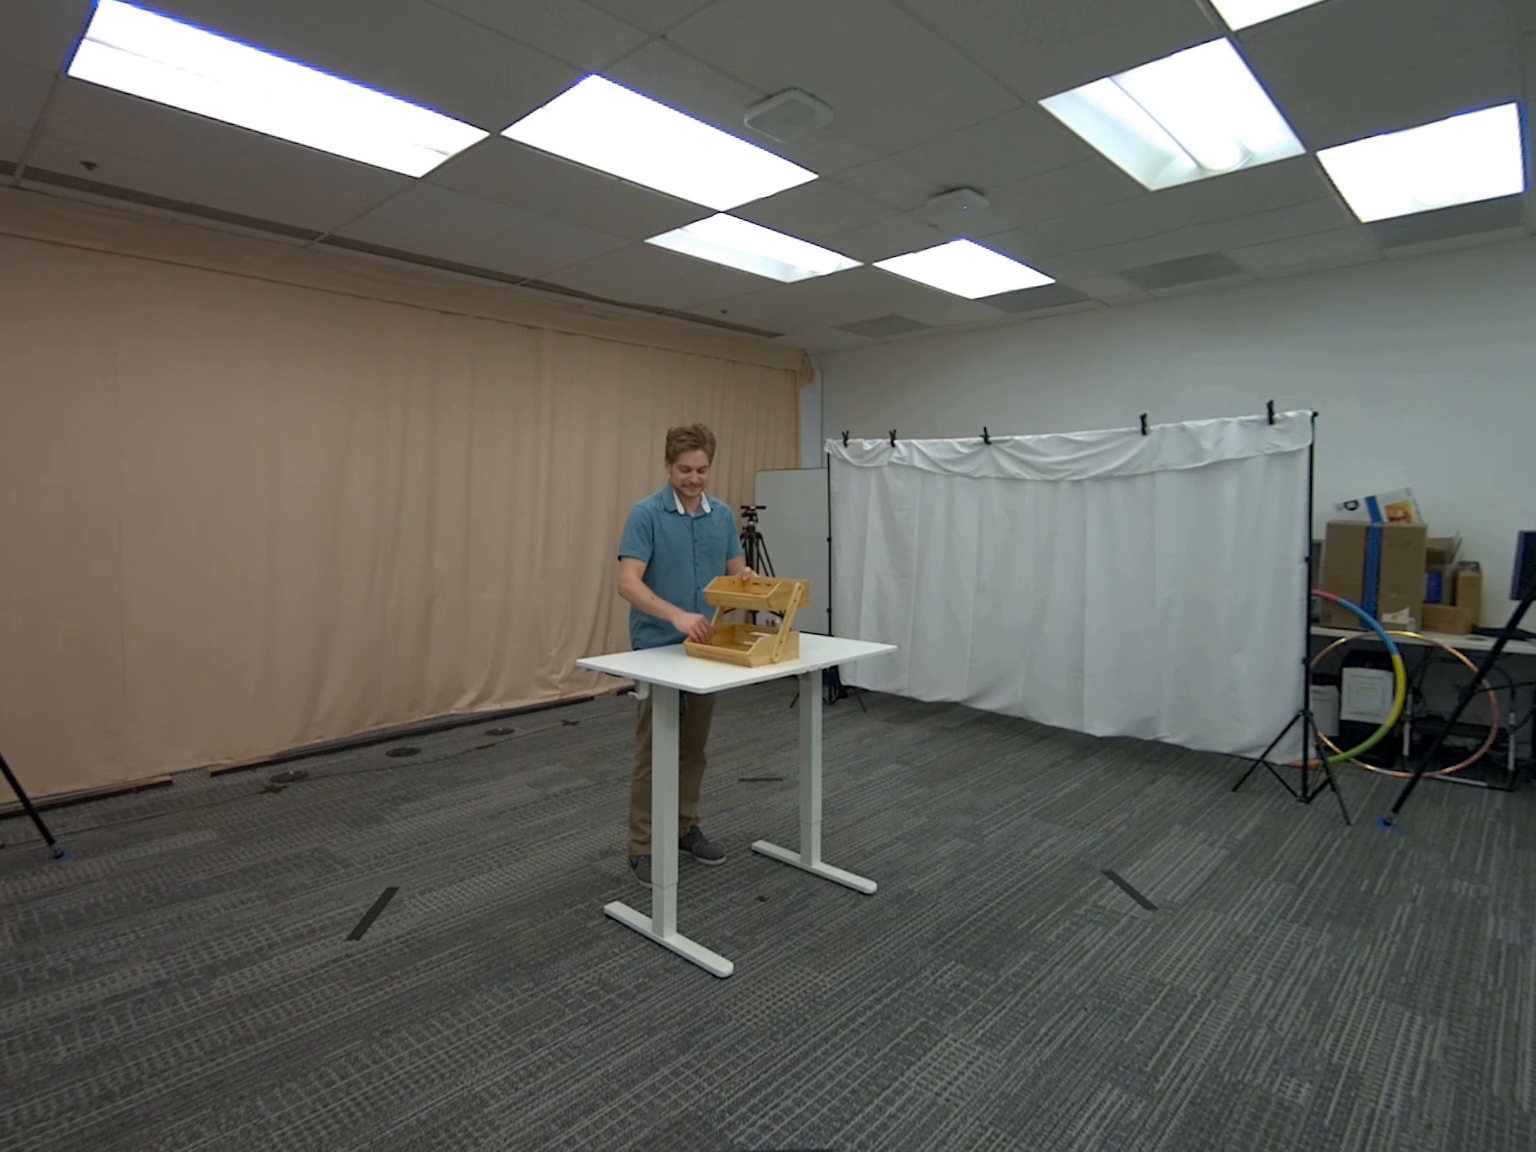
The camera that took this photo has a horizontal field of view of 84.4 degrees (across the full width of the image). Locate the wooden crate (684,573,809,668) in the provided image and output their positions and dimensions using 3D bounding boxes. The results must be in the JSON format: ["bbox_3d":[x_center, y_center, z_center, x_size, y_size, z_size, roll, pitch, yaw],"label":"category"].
[{"bbox_3d":[-0.071,0.140,2.839,0.335,0.273,0.292,4,5,43],"label":"wooden crate"}]
